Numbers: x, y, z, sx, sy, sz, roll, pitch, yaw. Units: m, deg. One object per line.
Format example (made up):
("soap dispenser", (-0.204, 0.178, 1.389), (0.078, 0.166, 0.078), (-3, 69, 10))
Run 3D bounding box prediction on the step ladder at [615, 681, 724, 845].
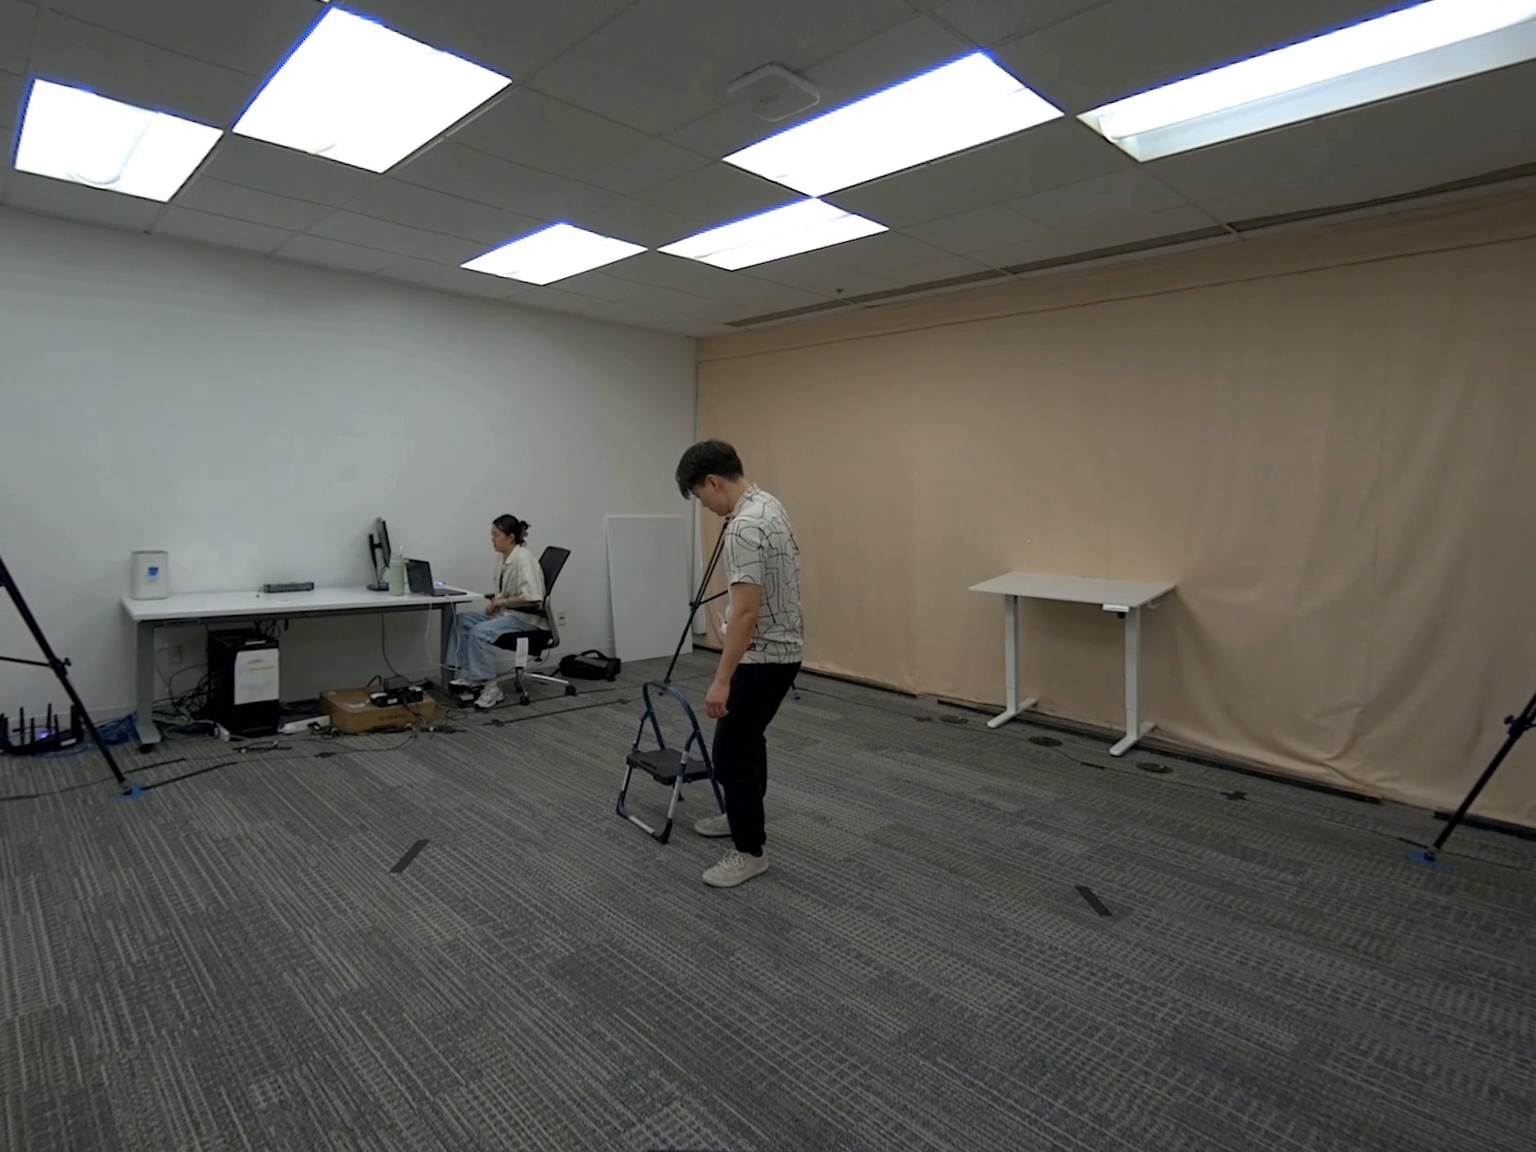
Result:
("step ladder", (-0.411, 0.752, 3.608), (0.341, 0.605, 0.441), (0, 3, -36))
